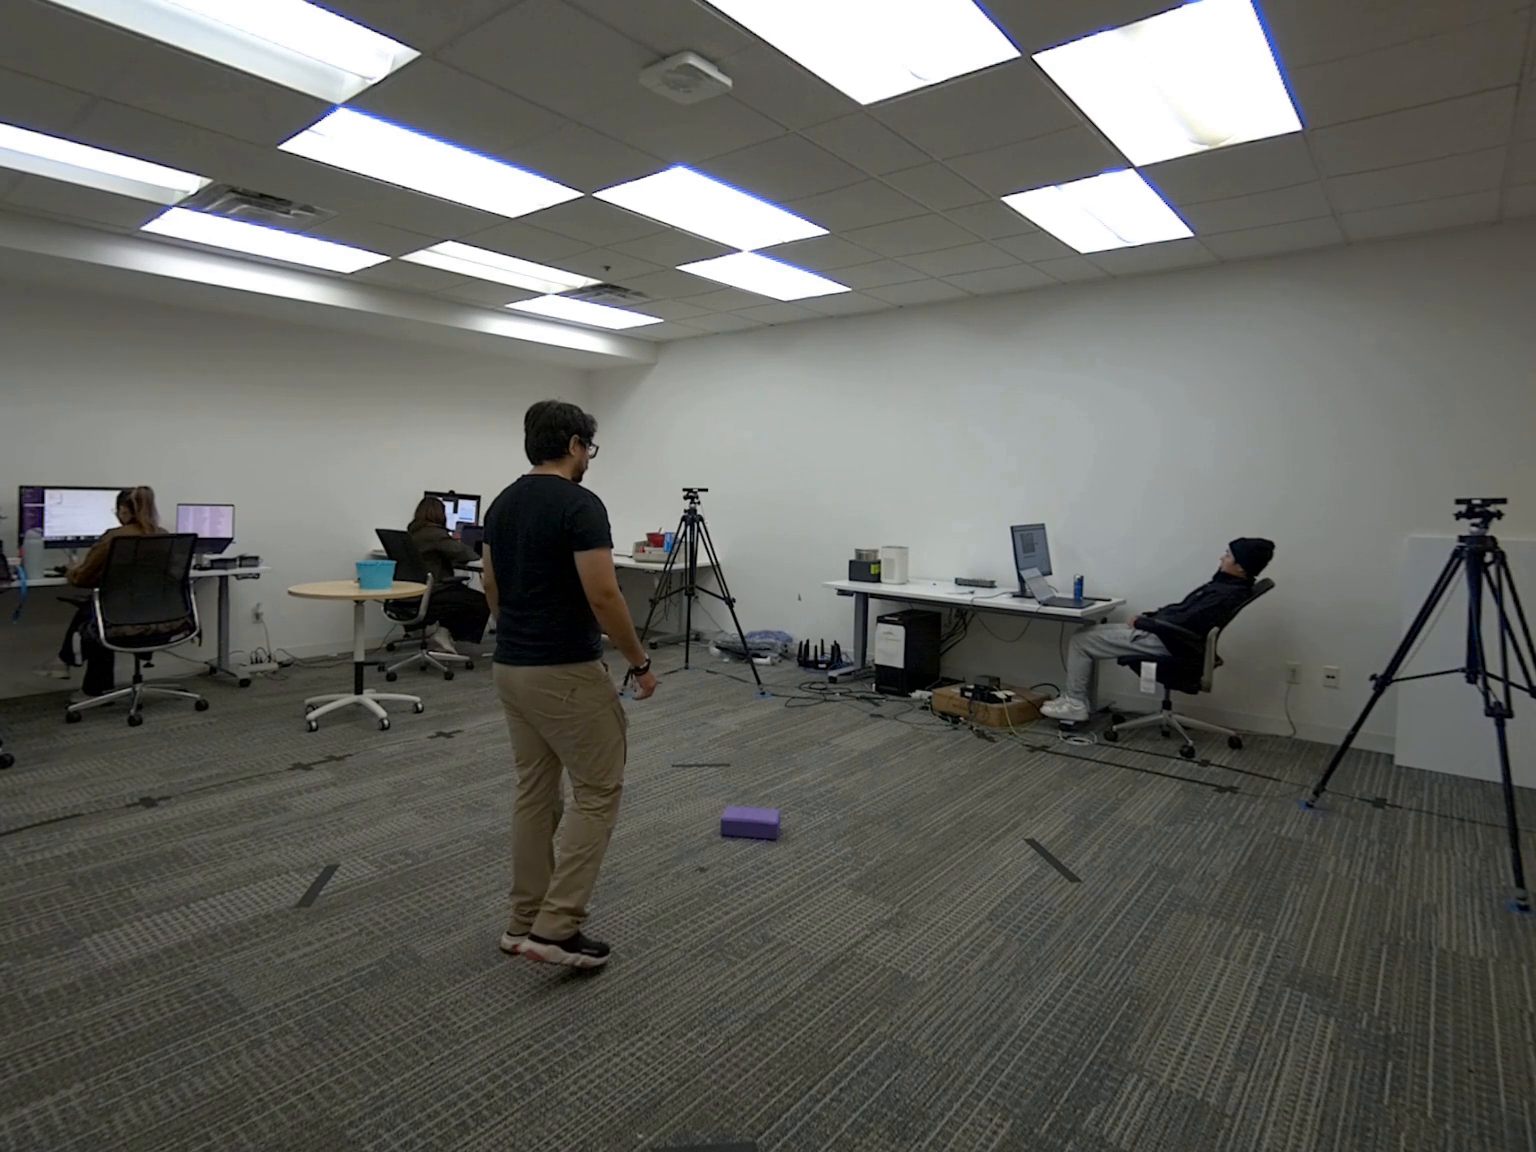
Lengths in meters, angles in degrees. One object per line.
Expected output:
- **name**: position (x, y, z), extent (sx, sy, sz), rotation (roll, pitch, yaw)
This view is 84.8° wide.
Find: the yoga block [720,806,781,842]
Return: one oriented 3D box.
- **yoga block**: position (-0.080, 0.996, 3.458), extent (0.232, 0.076, 0.148), rotation (3, 6, 9)
